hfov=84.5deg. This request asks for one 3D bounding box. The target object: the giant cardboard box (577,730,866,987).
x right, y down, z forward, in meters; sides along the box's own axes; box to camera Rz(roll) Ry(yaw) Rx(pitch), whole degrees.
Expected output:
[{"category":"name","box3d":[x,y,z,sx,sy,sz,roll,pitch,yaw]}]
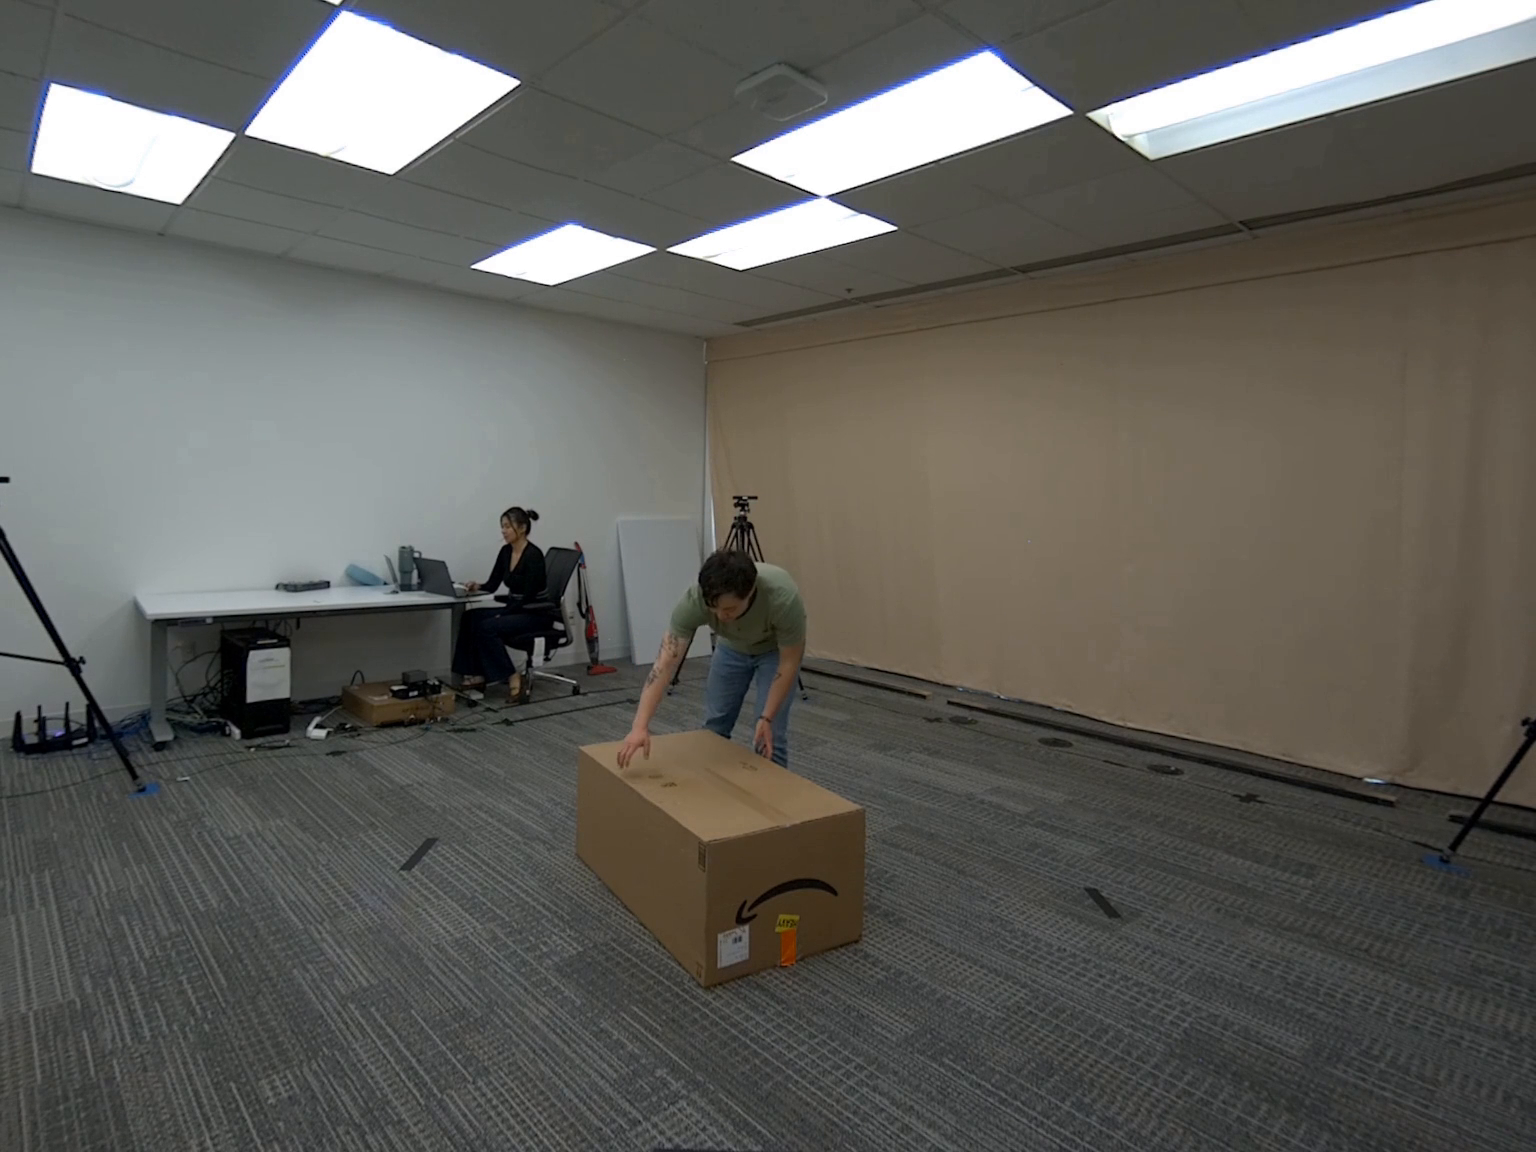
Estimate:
[{"category":"giant cardboard box","box3d":[-0.221,0.903,2.935,0.565,0.425,1.050,-2,6,-32]}]
